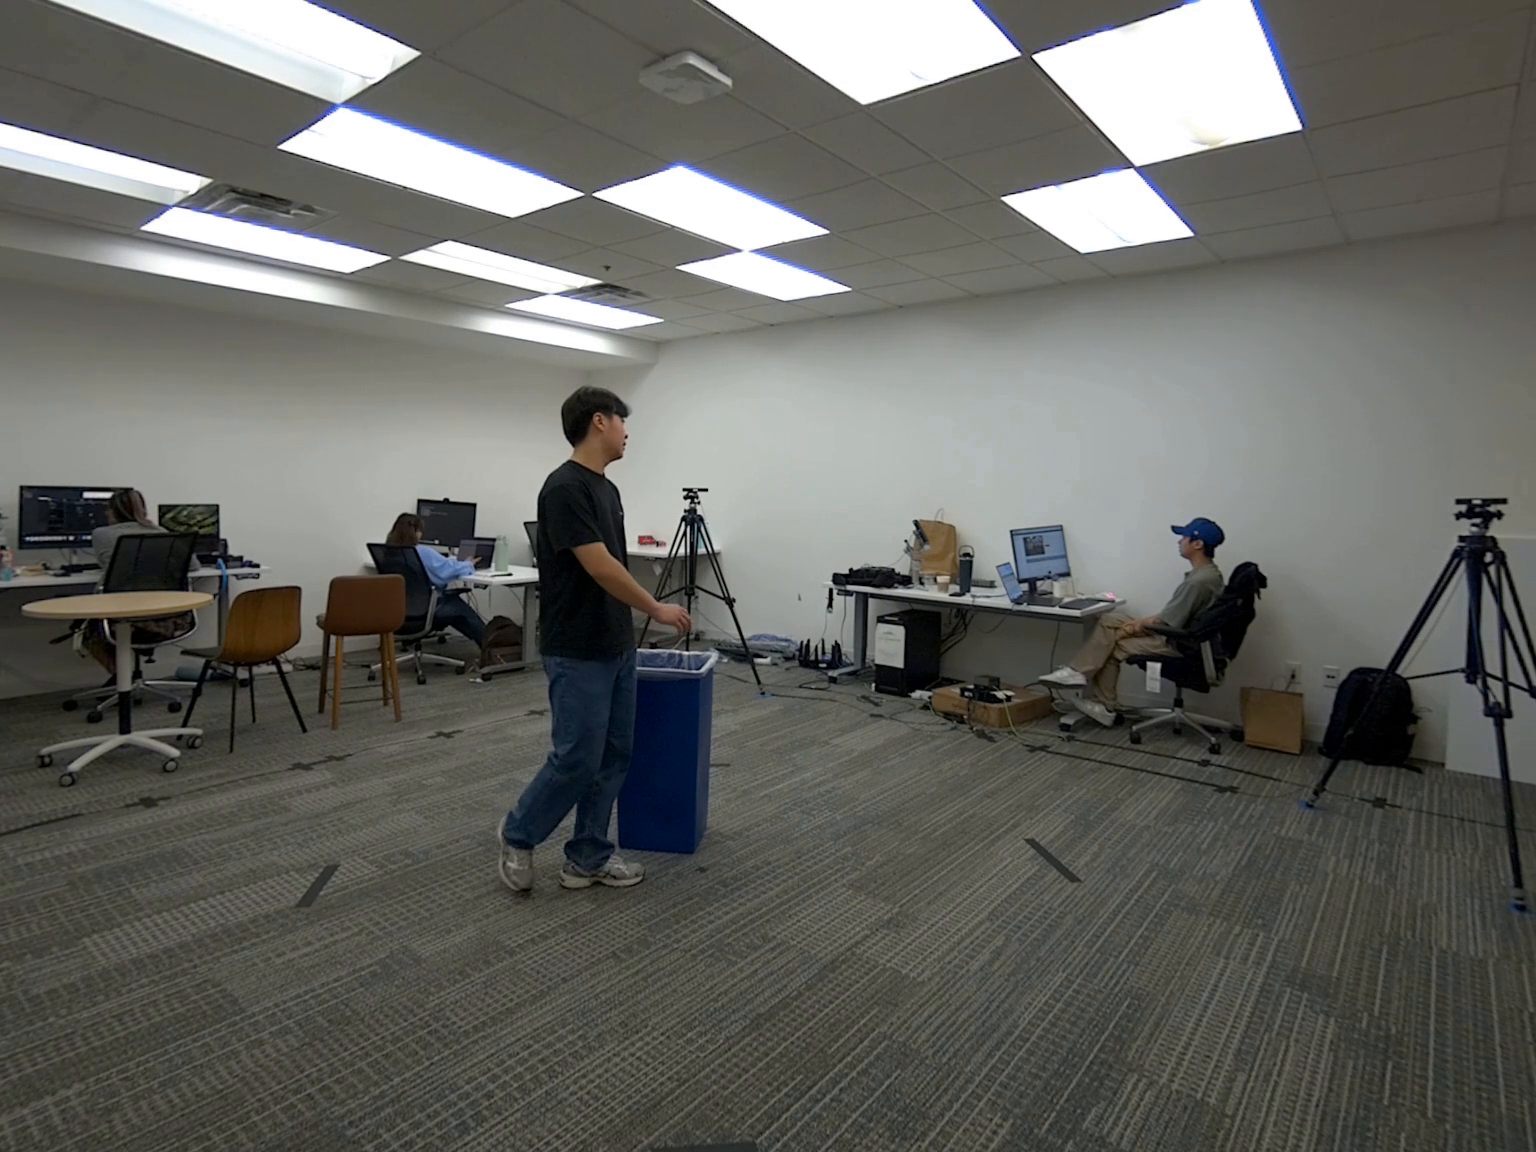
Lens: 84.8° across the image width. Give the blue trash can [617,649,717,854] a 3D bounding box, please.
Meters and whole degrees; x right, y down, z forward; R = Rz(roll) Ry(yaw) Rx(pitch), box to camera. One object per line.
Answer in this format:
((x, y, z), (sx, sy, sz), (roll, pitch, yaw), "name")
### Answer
((-0.424, 0.680, 3.391), (0.382, 0.710, 0.372), (2, 5, 8), "blue trash can")
